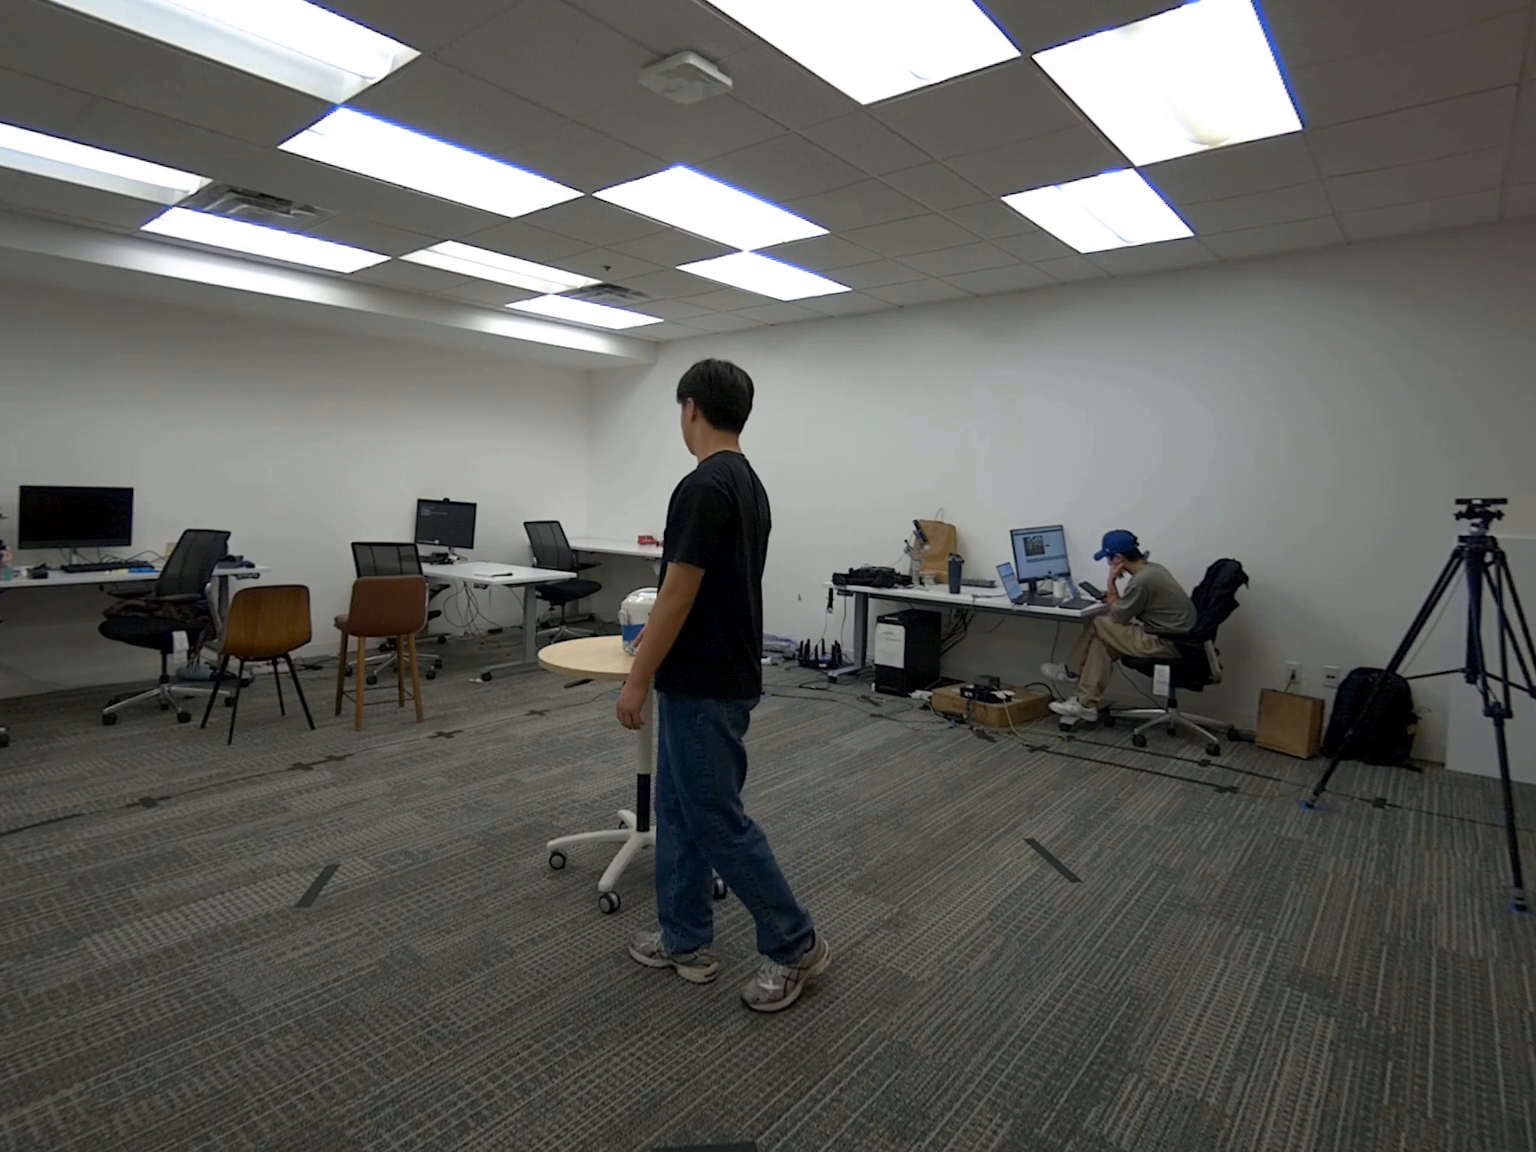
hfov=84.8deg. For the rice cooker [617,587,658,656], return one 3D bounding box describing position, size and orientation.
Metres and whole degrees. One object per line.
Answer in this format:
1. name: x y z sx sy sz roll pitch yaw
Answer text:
1. rice cooker: -0.430 0.153 3.079 0.221 0.232 0.218 0 4 2
